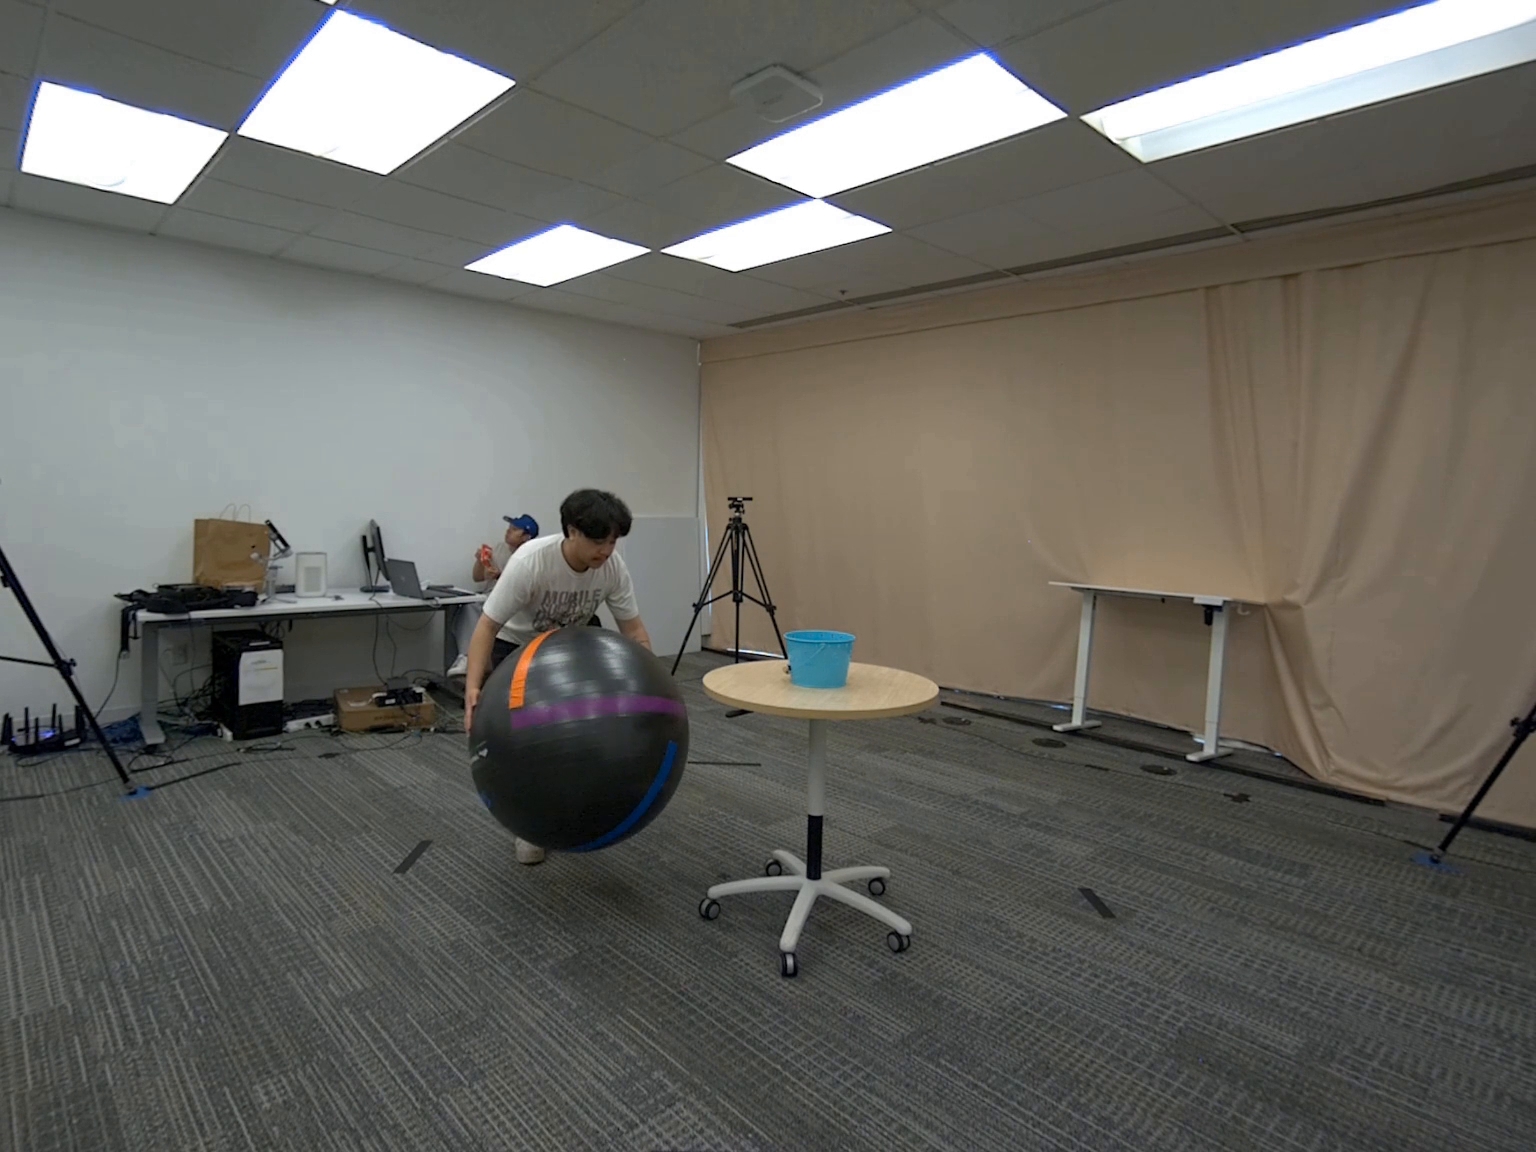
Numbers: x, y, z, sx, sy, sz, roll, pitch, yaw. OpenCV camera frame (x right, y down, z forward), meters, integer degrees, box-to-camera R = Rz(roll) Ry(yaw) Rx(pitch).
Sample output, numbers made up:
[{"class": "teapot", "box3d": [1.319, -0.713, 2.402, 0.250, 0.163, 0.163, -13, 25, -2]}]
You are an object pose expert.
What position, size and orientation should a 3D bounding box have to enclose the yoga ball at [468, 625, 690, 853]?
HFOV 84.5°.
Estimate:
[{"class": "yoga ball", "box3d": [-0.667, 0.568, 2.922, 0.757, 0.756, 0.760, 1, 4, -1]}]
